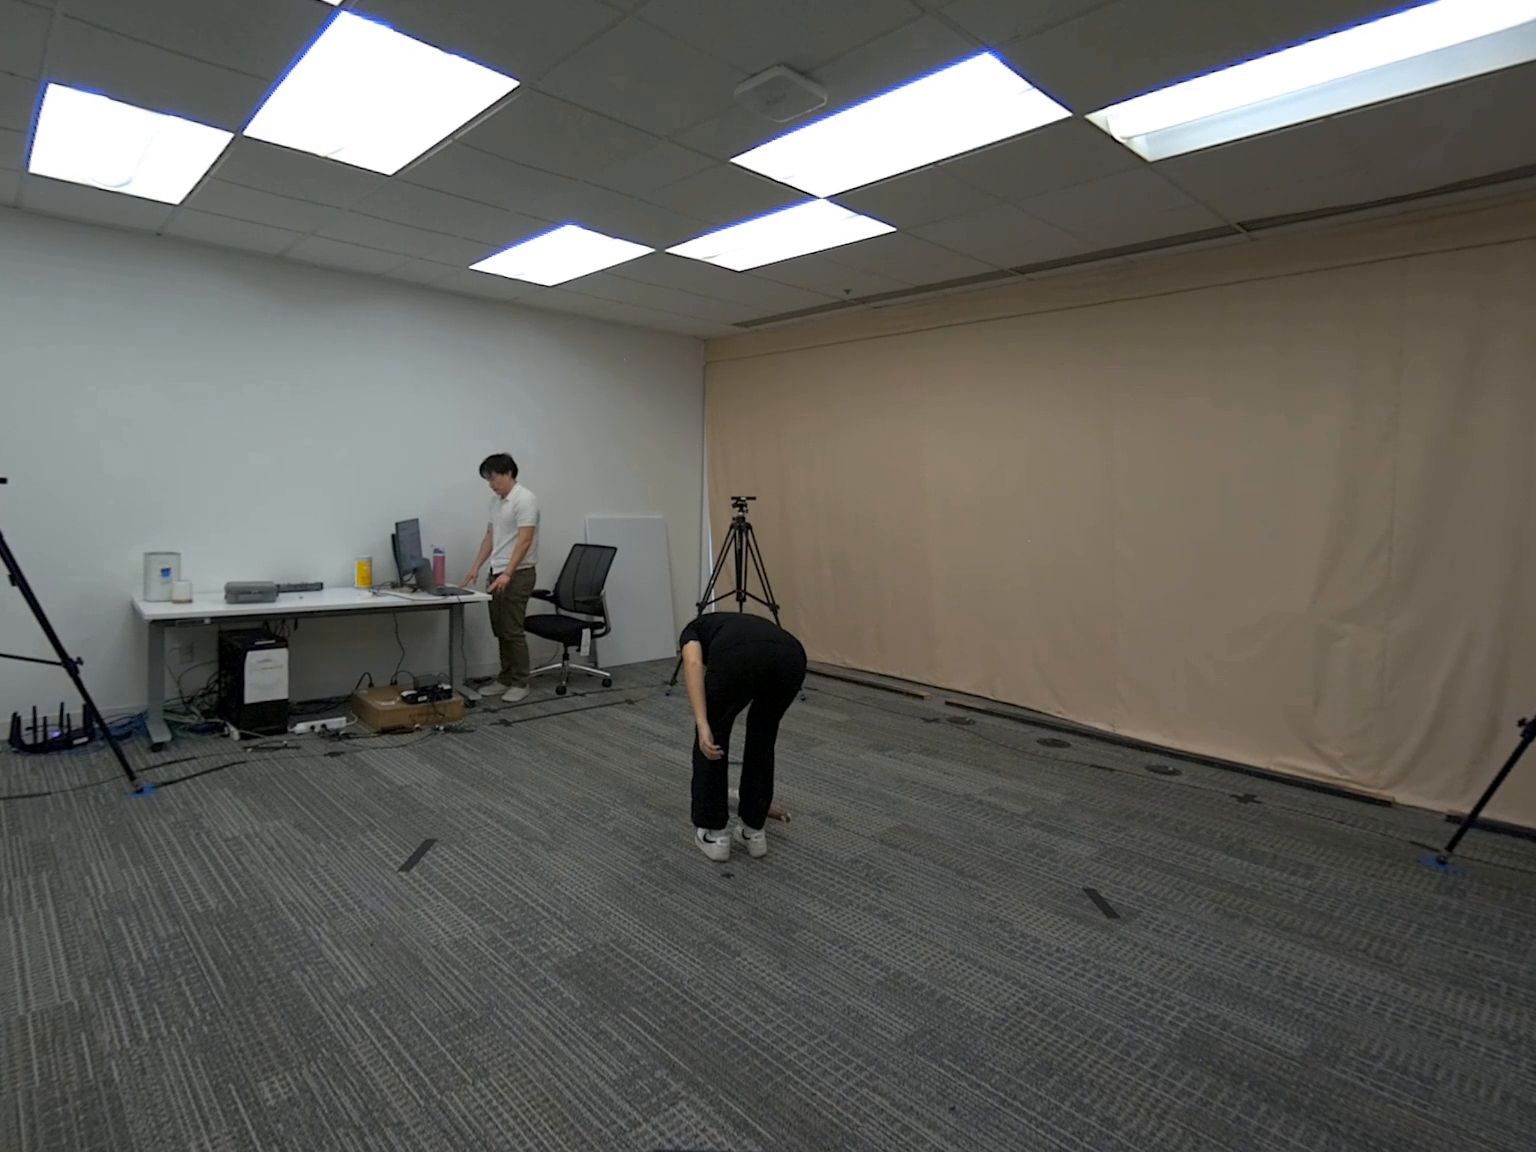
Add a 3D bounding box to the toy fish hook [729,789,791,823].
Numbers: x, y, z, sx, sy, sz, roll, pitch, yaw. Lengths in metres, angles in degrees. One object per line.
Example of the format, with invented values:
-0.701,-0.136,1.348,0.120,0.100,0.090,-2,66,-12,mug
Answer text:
-0.127,1.016,3.622,0.222,0.048,0.518,-30,18,-36,toy fish hook
